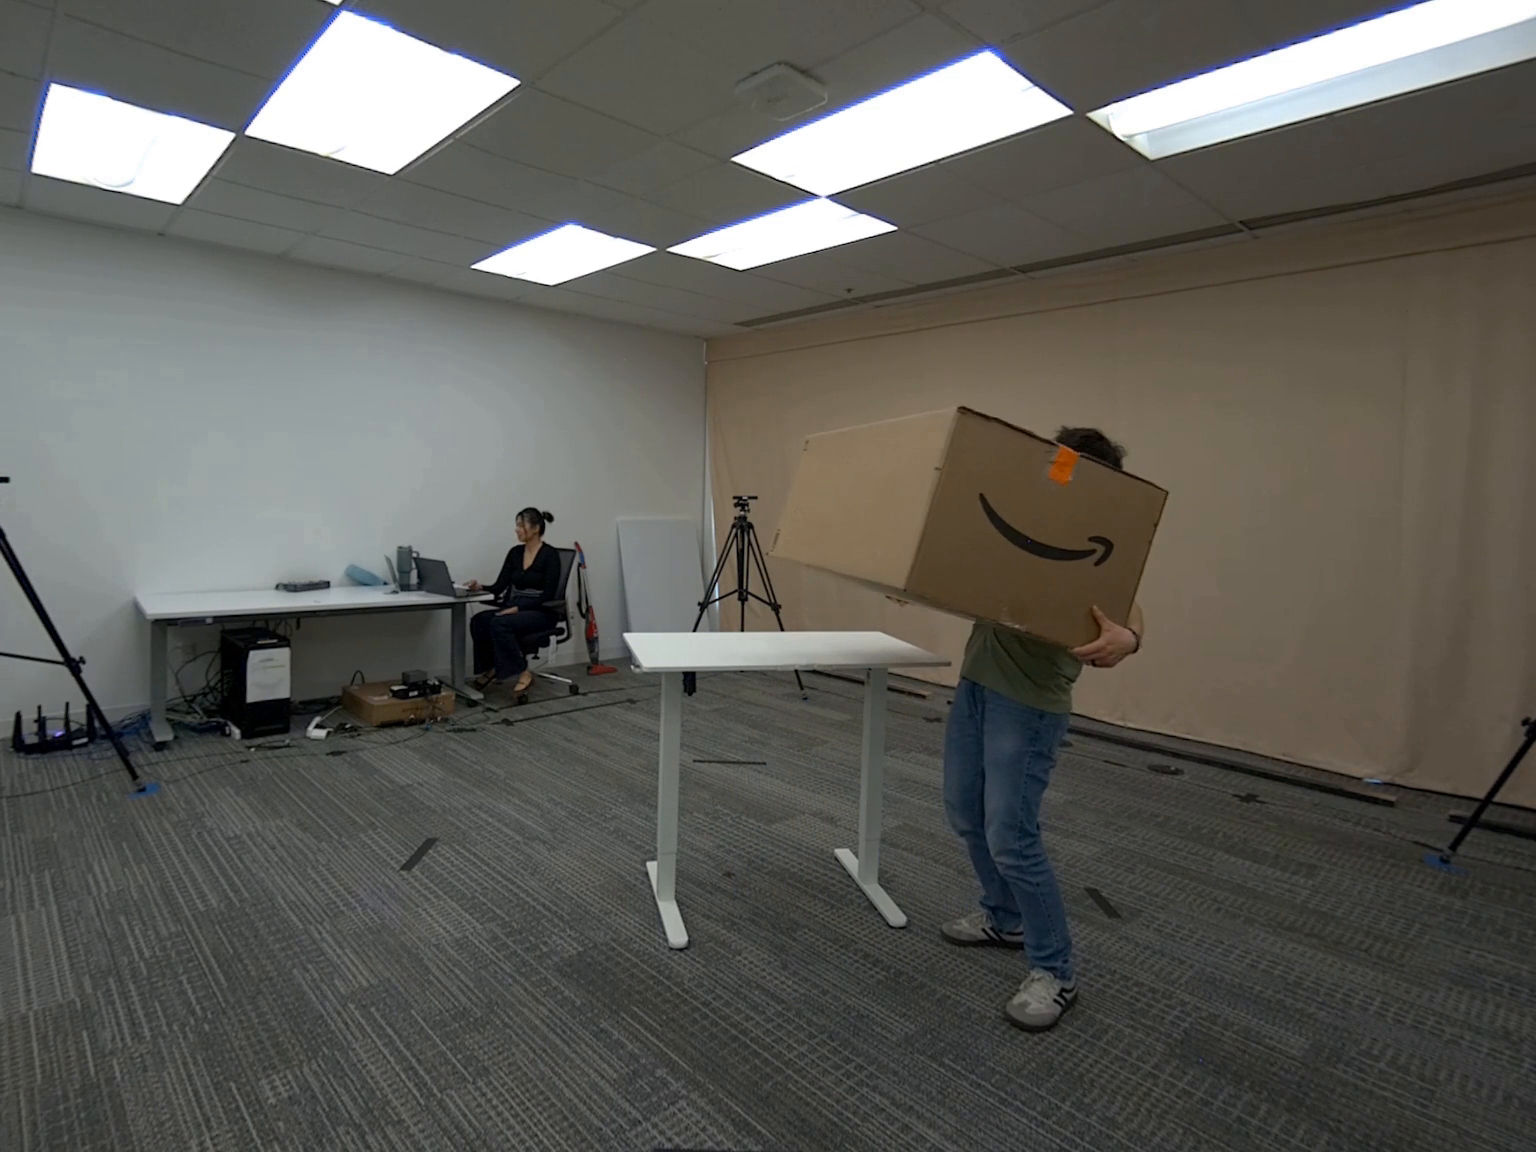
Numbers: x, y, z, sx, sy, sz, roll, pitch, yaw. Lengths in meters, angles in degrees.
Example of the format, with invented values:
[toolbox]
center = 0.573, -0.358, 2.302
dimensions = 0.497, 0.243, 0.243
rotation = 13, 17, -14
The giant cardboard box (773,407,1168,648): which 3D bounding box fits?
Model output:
[giant cardboard box]
center = 0.463, -0.137, 2.377
dimensions = 0.569, 0.426, 1.041
rotation = 18, 0, -16
